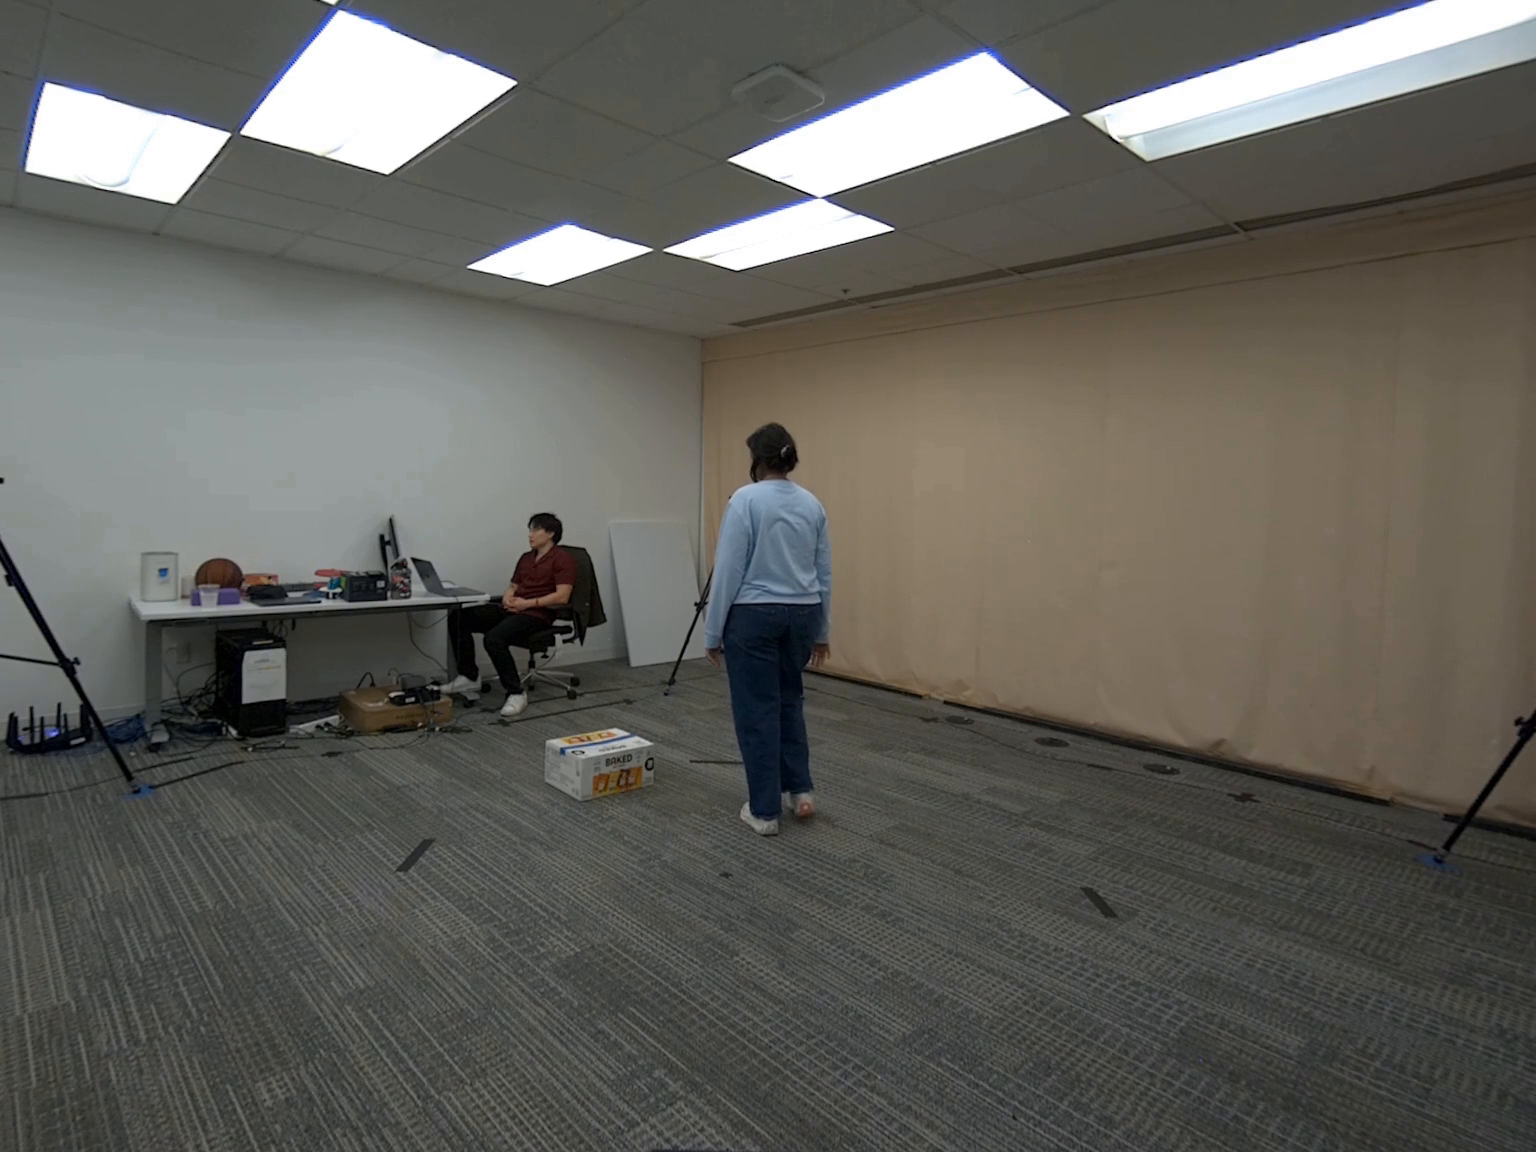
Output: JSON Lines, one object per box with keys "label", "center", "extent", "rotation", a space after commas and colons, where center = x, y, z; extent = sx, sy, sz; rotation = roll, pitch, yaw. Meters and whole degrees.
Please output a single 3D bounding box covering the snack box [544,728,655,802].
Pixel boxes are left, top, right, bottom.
{"label": "snack box", "center": [-0.820, 0.900, 4.063], "extent": [0.396, 0.205, 0.349], "rotation": [-2, 5, -42]}
